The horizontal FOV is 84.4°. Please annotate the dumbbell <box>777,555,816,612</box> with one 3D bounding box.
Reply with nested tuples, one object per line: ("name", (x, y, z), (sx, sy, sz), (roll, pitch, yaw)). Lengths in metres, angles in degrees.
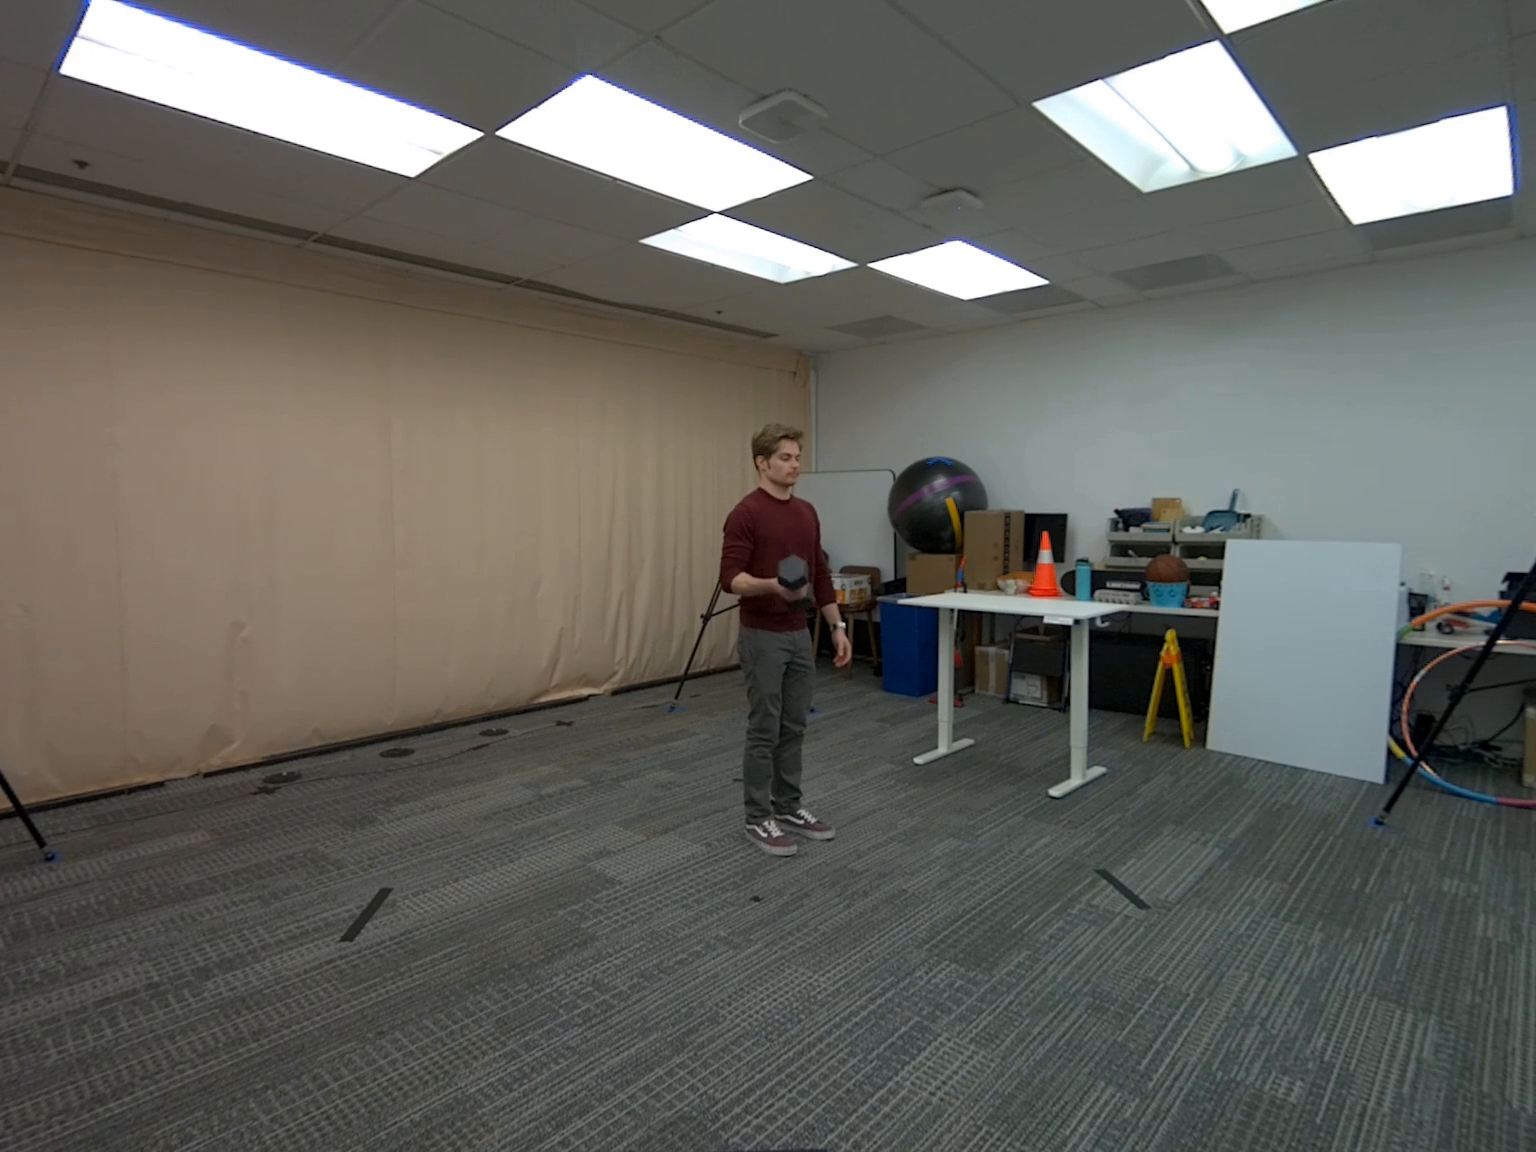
("dumbbell", (0.089, 0.035, 3.131), (0.126, 0.108, 0.287), (32, -18, 20))
